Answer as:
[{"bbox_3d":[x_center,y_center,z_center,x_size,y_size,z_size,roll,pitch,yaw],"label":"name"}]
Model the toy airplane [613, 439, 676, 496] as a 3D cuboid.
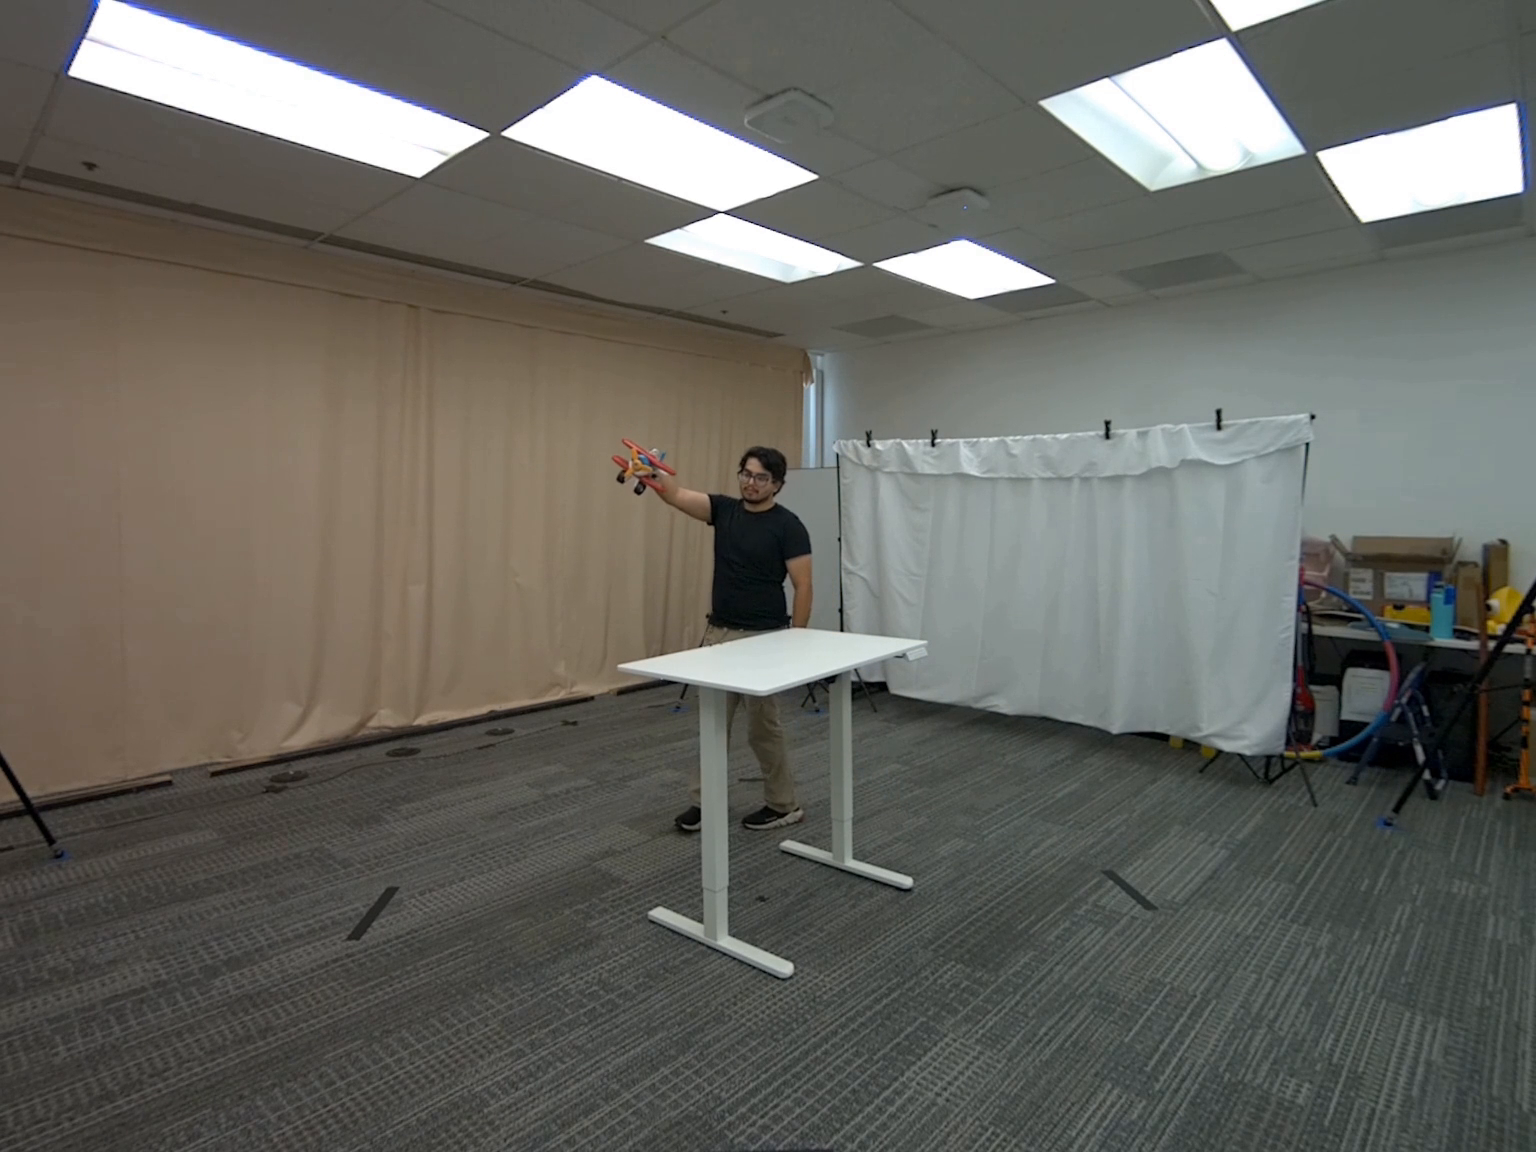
[{"bbox_3d":[-0.499,-0.441,3.364,0.246,0.156,0.264,22,28,-16],"label":"toy airplane"}]
